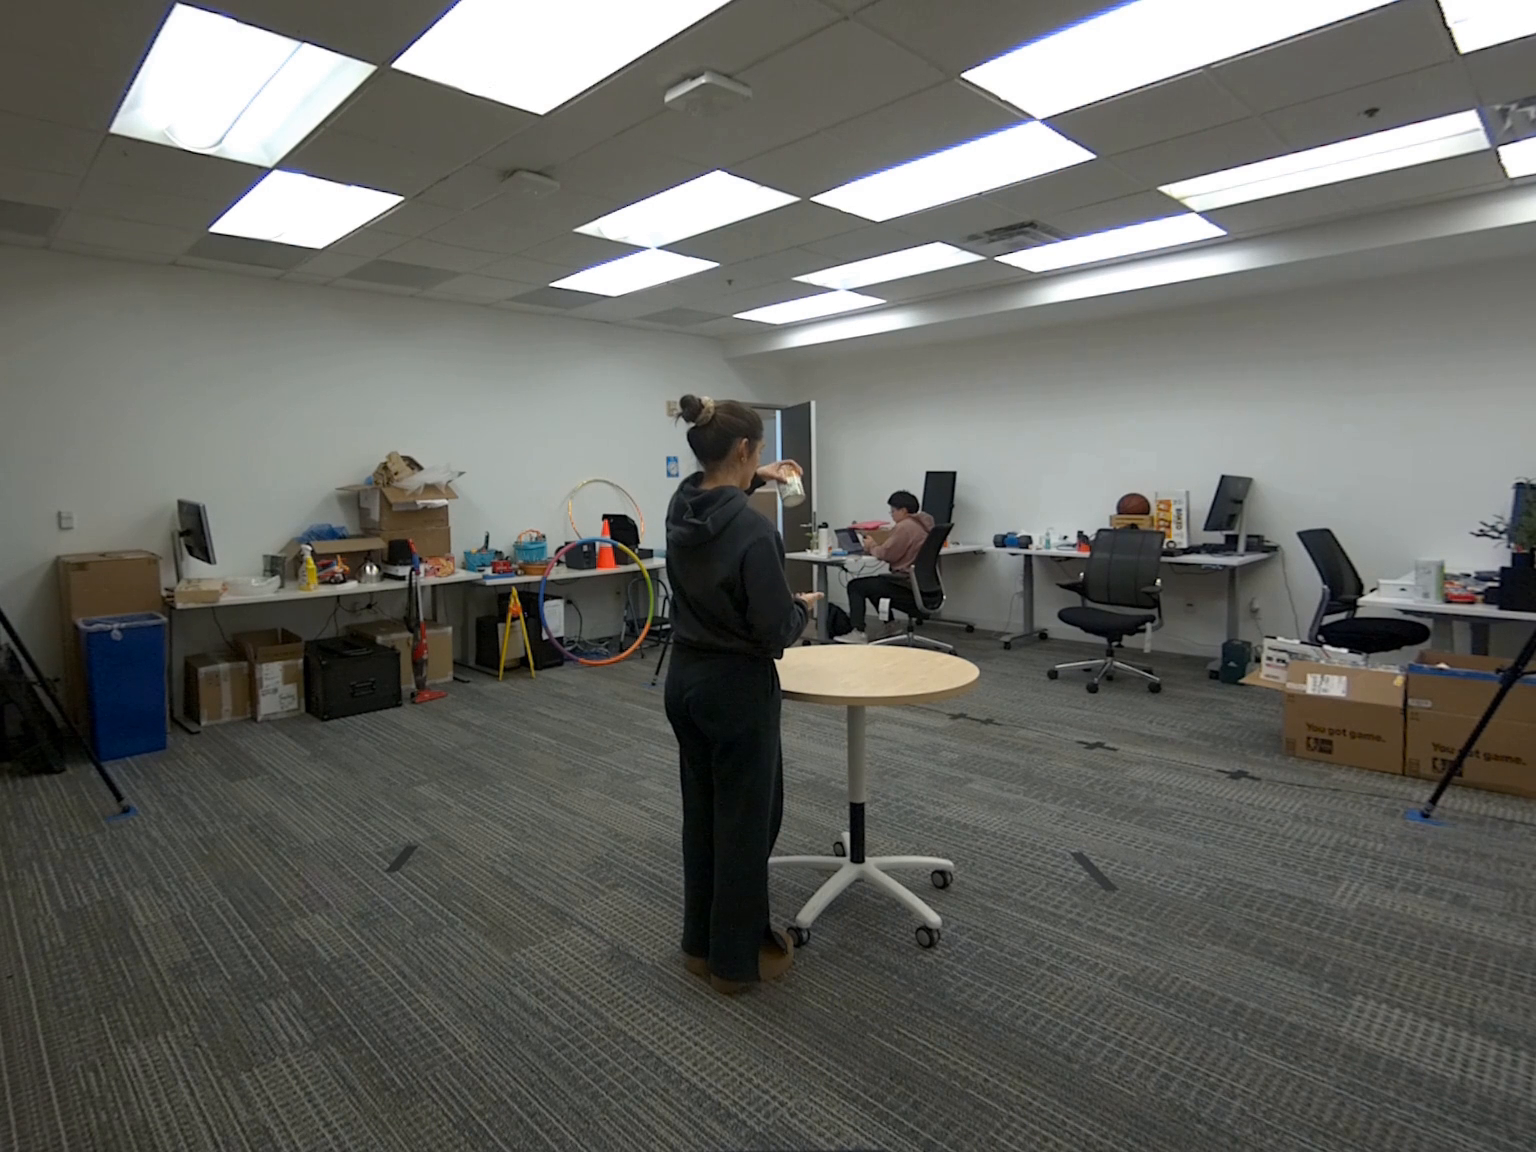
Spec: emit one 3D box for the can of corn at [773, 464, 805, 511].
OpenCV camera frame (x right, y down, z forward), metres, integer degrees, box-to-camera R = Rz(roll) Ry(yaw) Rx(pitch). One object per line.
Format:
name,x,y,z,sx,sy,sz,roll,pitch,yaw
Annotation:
can of corn,0.062,-0.270,2.599,0.074,0.113,0.073,-6,-23,-4
